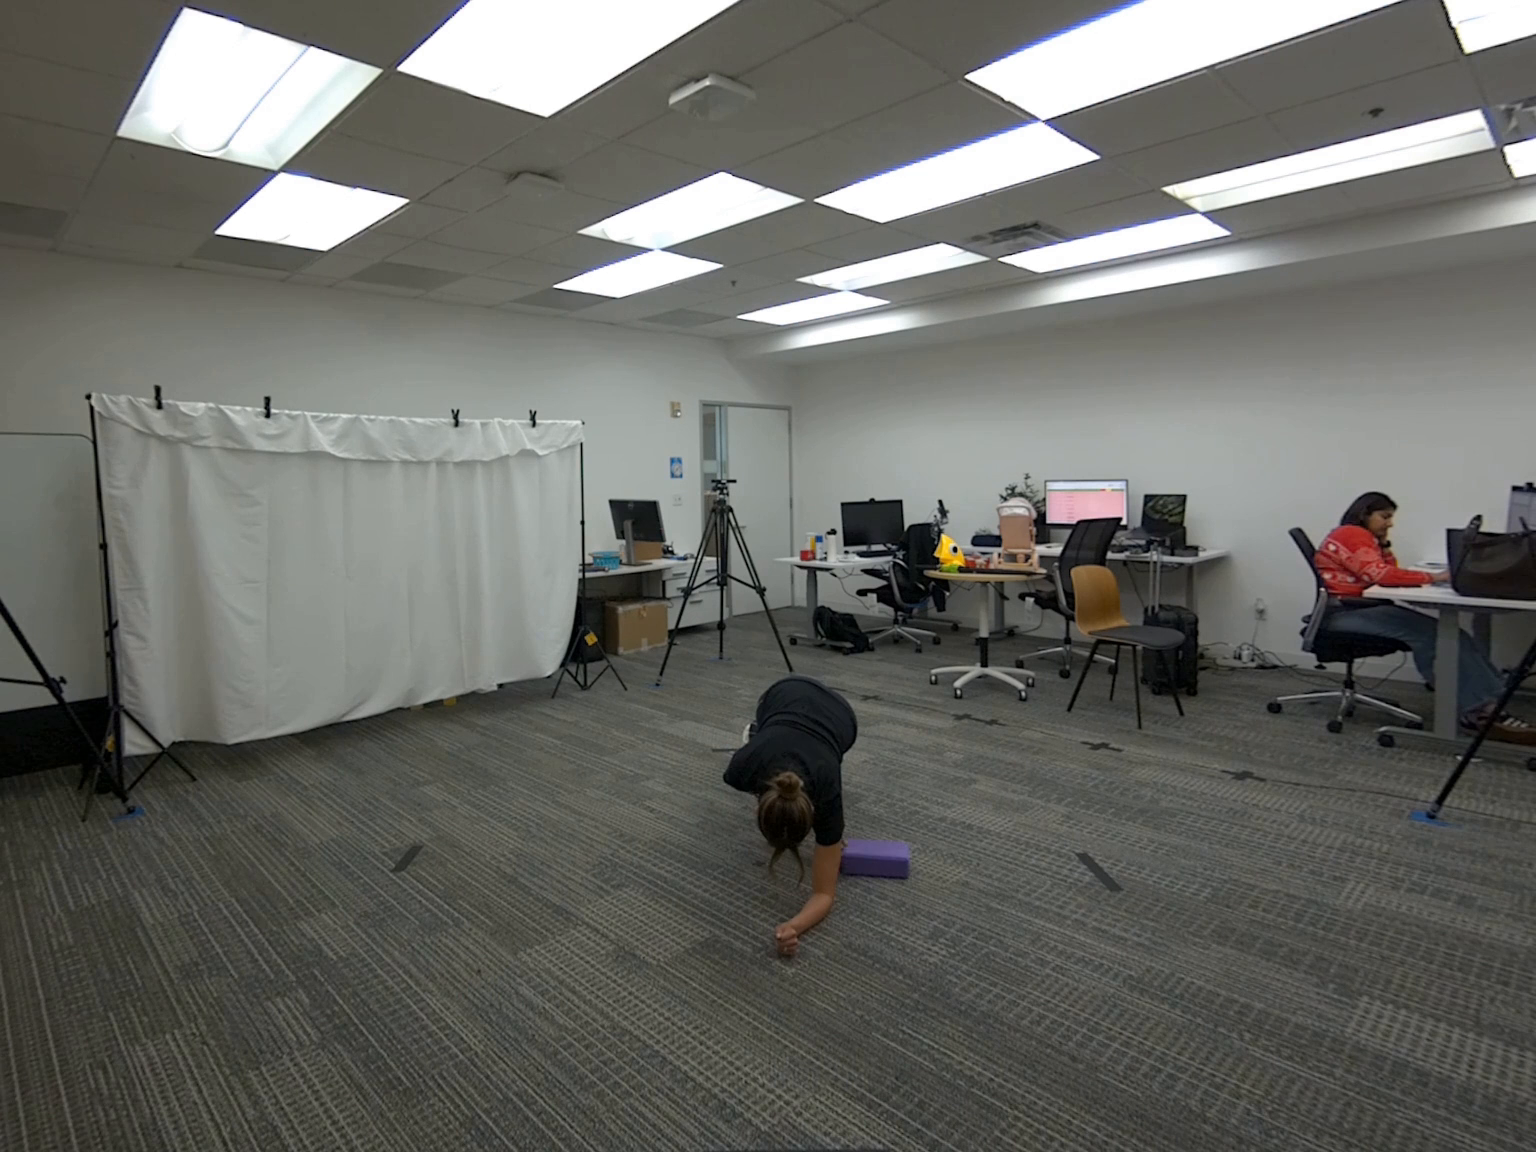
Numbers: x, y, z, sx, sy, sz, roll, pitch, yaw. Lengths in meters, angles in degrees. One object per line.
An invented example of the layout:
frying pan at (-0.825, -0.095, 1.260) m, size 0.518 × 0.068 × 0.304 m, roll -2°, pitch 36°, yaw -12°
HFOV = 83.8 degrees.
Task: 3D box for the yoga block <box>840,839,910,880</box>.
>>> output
yoga block at (0.387, 1.005, 3.048) m, size 0.232 × 0.076 × 0.148 m, roll 0°, pitch 5°, yaw 12°
